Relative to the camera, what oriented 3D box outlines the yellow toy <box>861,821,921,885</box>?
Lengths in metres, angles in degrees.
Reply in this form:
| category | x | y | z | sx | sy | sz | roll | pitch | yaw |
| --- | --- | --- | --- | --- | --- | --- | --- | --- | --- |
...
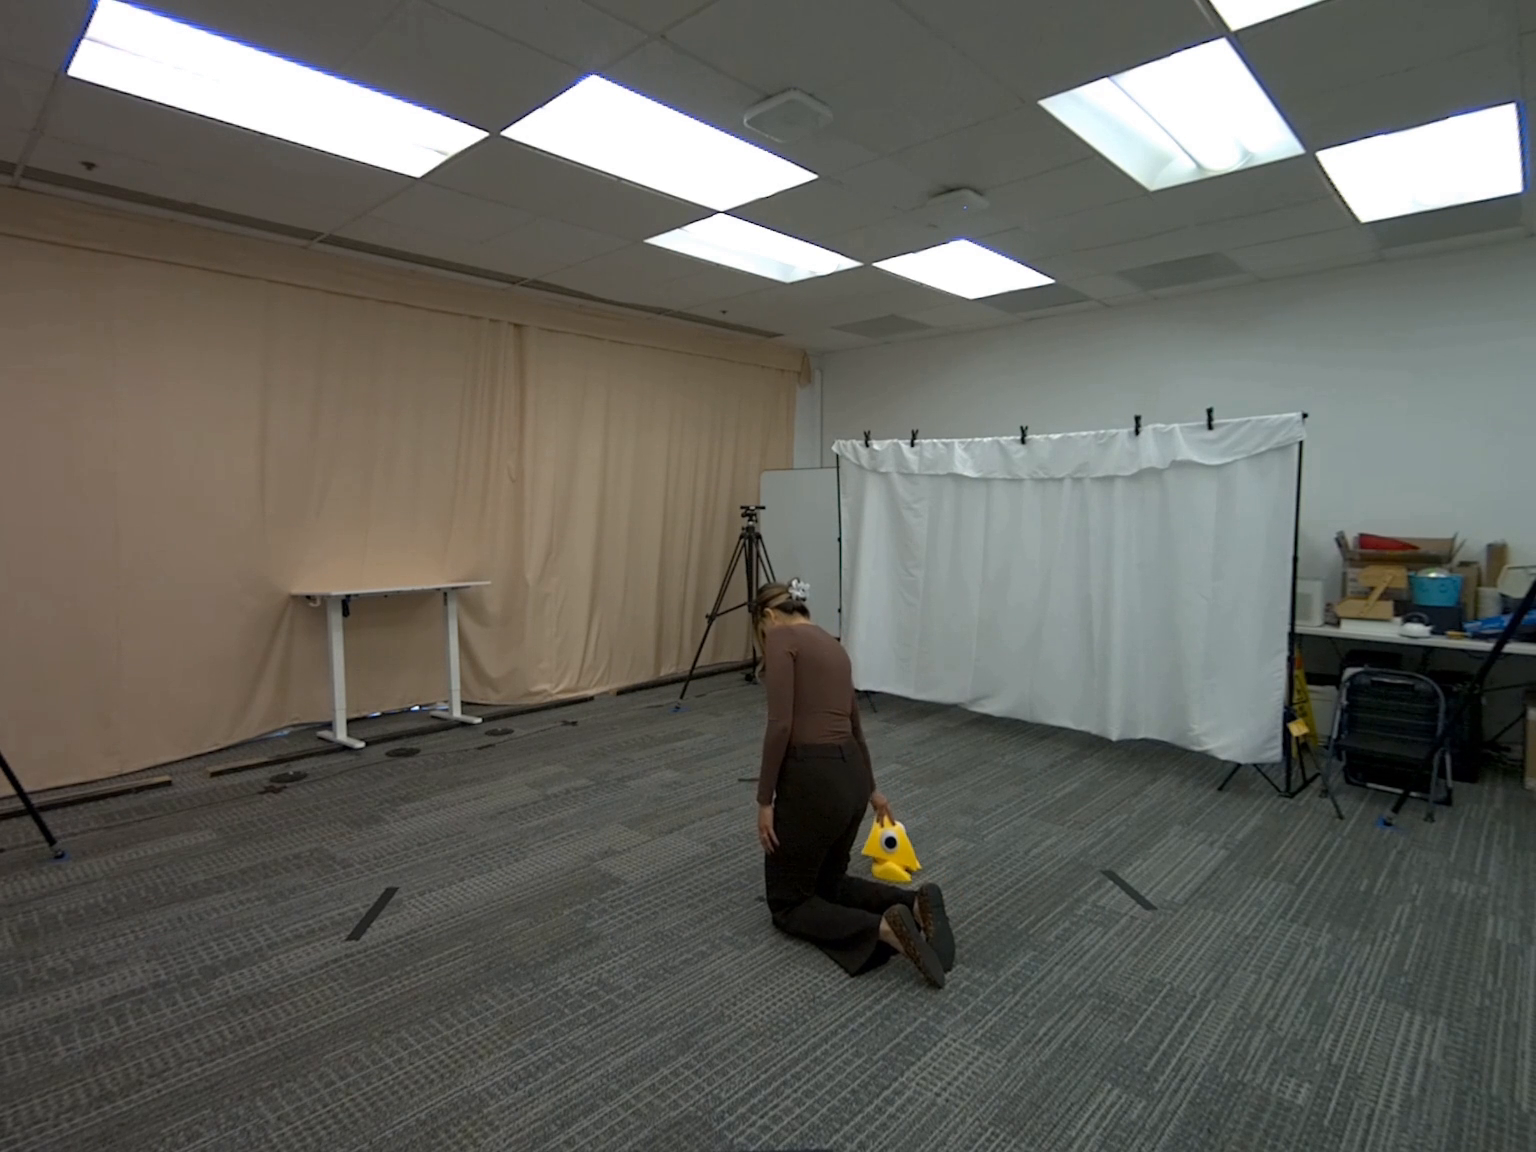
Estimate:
| category | x | y | z | sx | sy | sz | roll | pitch | yaw |
| --- | --- | --- | --- | --- | --- | --- | --- | --- | --- |
| yellow toy | 0.479 | 1.010 | 3.218 | 0.198 | 0.230 | 0.199 | 2 | 4 | 29 |
